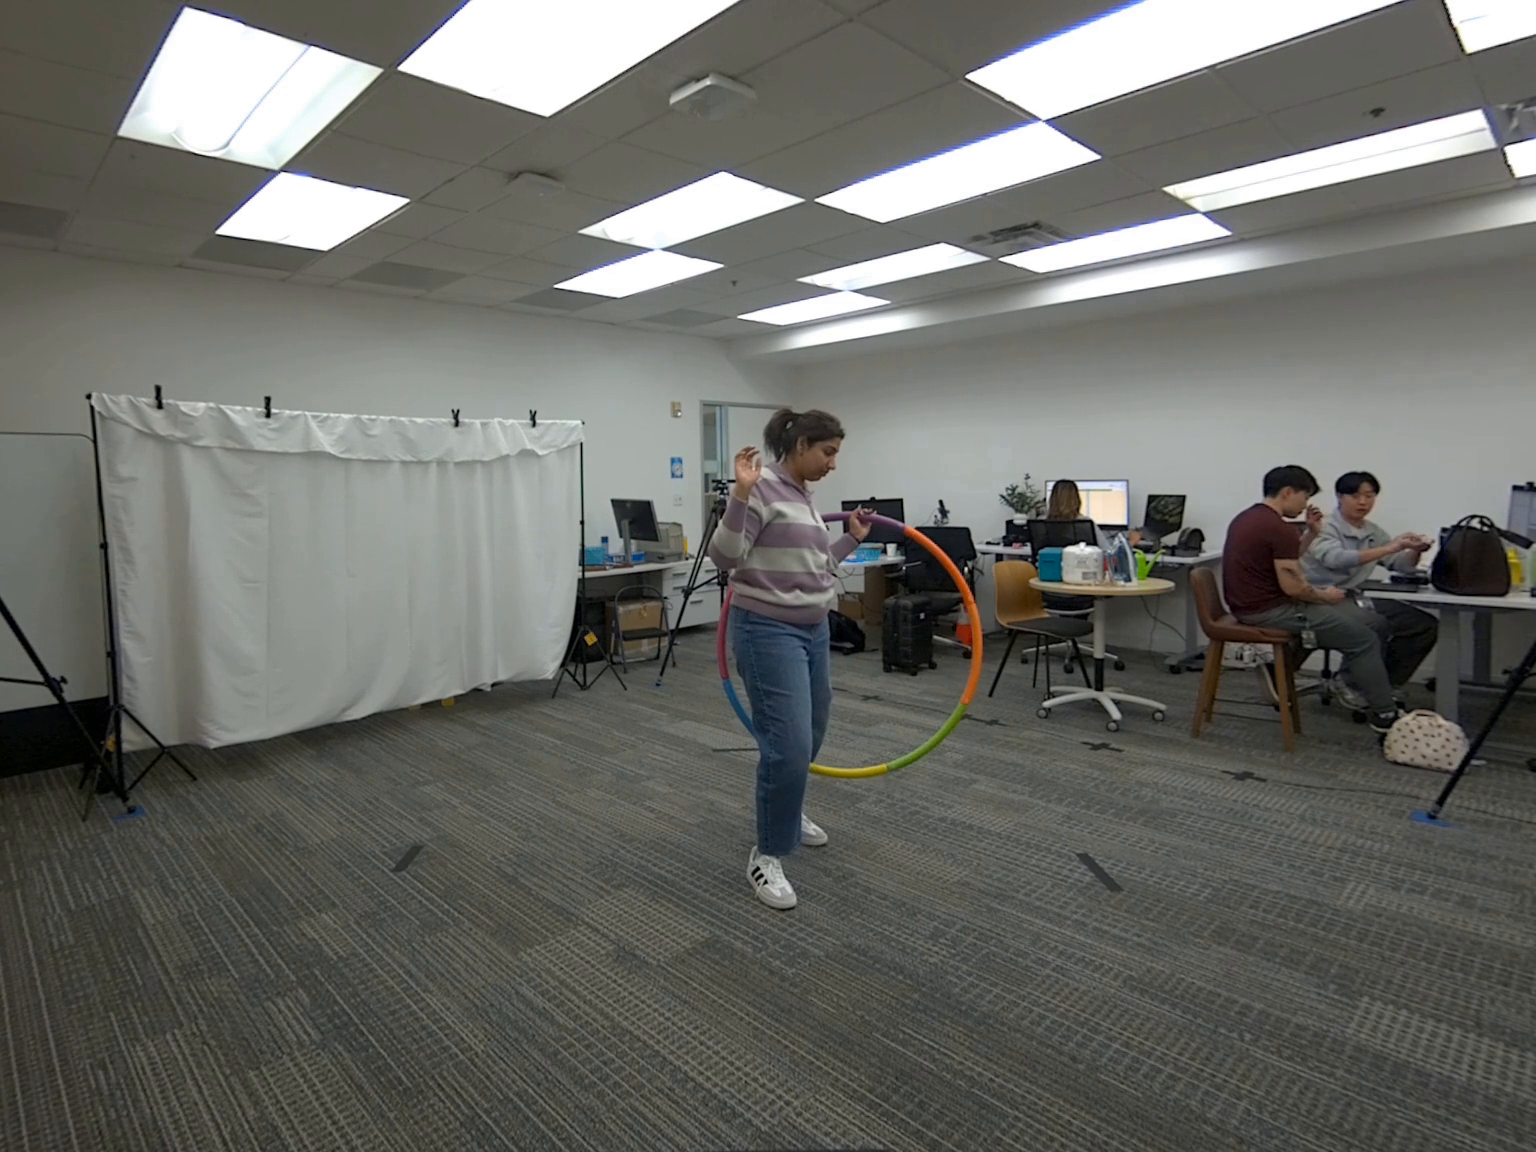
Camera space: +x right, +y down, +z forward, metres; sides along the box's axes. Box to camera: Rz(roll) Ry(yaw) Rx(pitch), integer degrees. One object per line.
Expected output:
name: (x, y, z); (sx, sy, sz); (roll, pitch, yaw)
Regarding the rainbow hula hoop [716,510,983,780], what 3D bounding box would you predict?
rainbow hula hoop: (0.294, 0.241, 3.207); (0.992, 0.992, 0.051); (-1, -8, 7)
